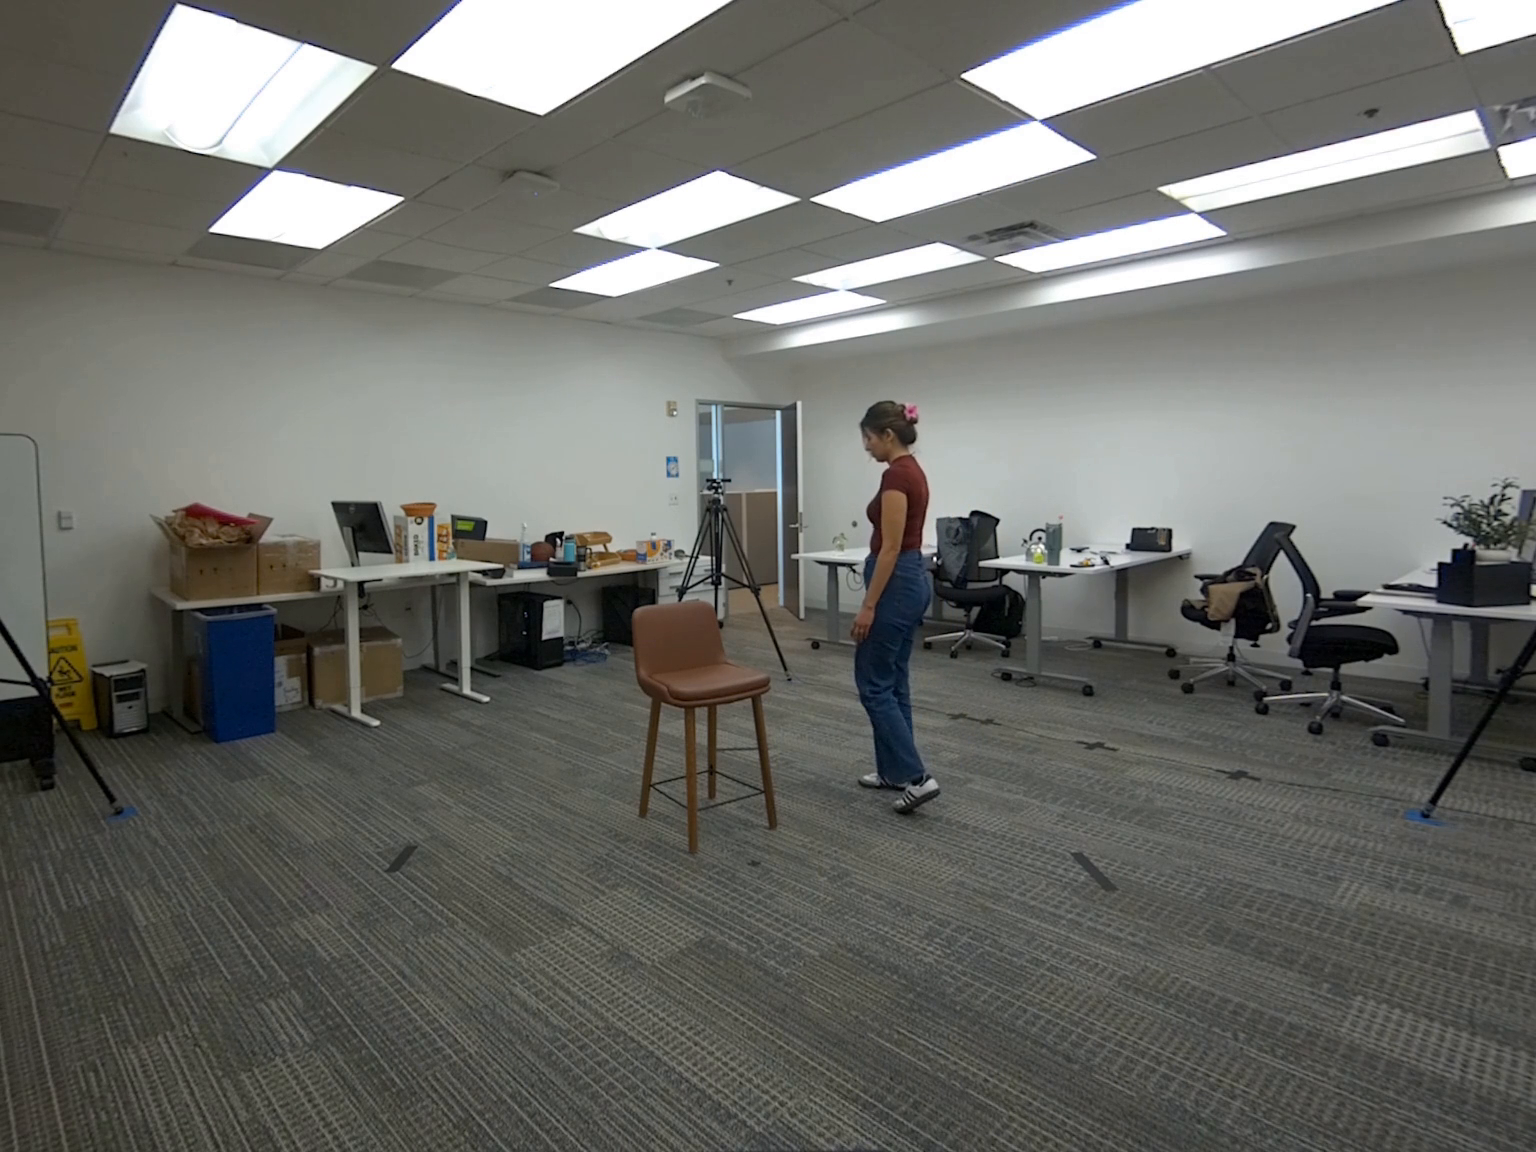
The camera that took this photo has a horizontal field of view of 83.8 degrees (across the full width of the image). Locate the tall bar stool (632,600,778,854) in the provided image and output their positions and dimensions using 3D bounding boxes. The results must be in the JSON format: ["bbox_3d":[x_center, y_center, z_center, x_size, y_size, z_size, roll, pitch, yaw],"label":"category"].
[{"bbox_3d":[-0.268,0.573,3.465,0.445,0.888,0.481,-3,3,-36],"label":"tall bar stool"}]
